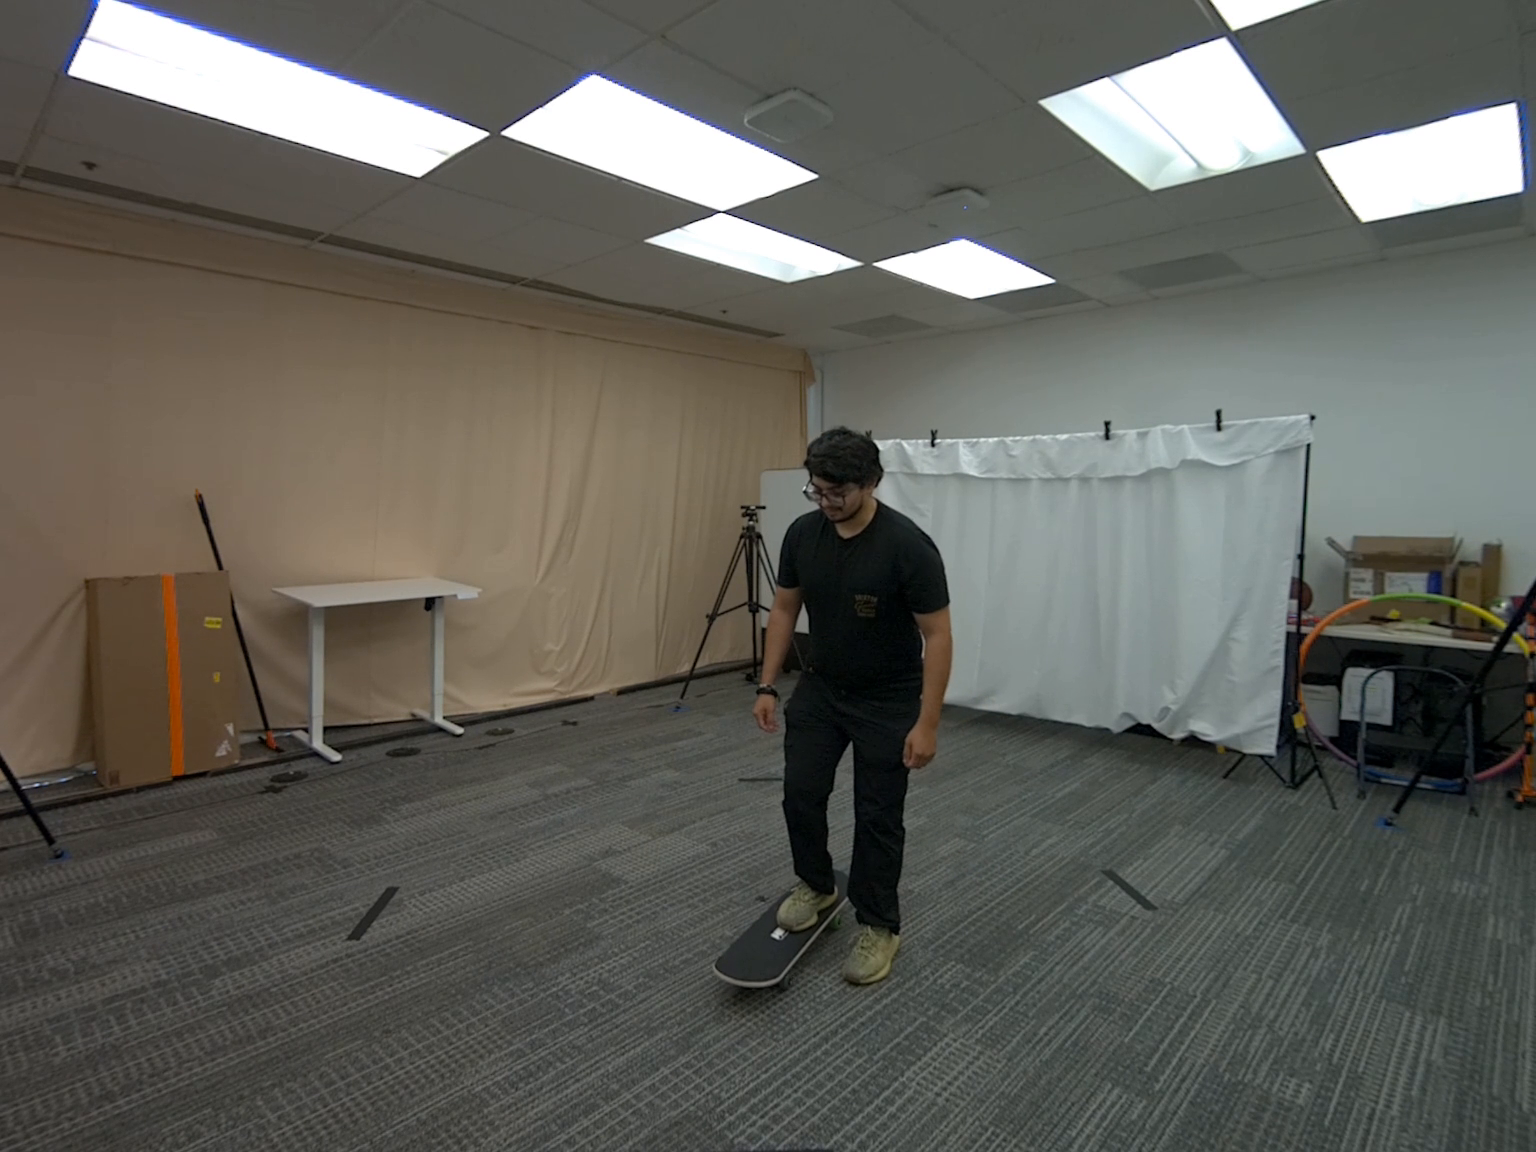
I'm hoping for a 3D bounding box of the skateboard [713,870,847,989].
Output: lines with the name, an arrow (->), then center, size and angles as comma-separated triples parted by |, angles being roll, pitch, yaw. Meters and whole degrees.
skateboard -> 0.070, 1.122, 2.624 | 0.199, 0.110, 0.766 | 4, 6, 26
